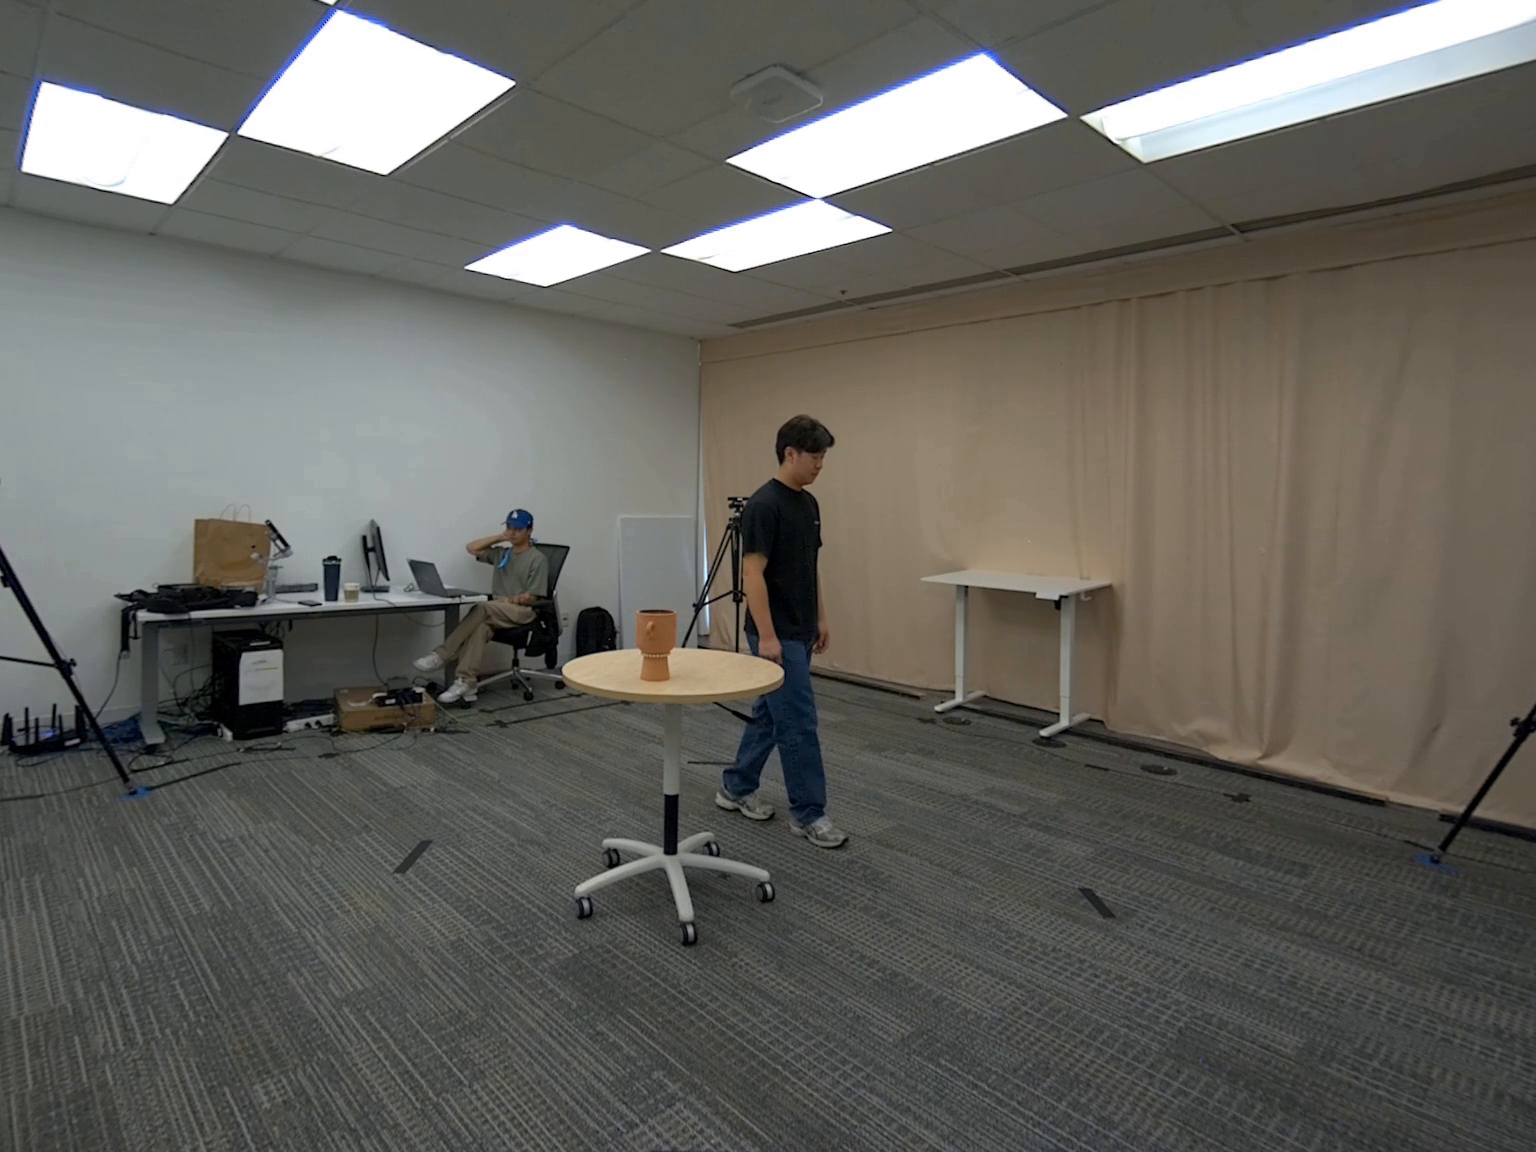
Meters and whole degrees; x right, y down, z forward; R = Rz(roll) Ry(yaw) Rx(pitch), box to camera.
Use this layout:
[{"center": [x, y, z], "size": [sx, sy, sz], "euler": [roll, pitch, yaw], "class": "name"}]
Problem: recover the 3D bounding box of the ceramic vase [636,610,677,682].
[{"center": [-0.372, 0.229, 2.755], "size": [0.155, 0.219, 0.138], "euler": [-1, 6, -42], "class": "ceramic vase"}]
